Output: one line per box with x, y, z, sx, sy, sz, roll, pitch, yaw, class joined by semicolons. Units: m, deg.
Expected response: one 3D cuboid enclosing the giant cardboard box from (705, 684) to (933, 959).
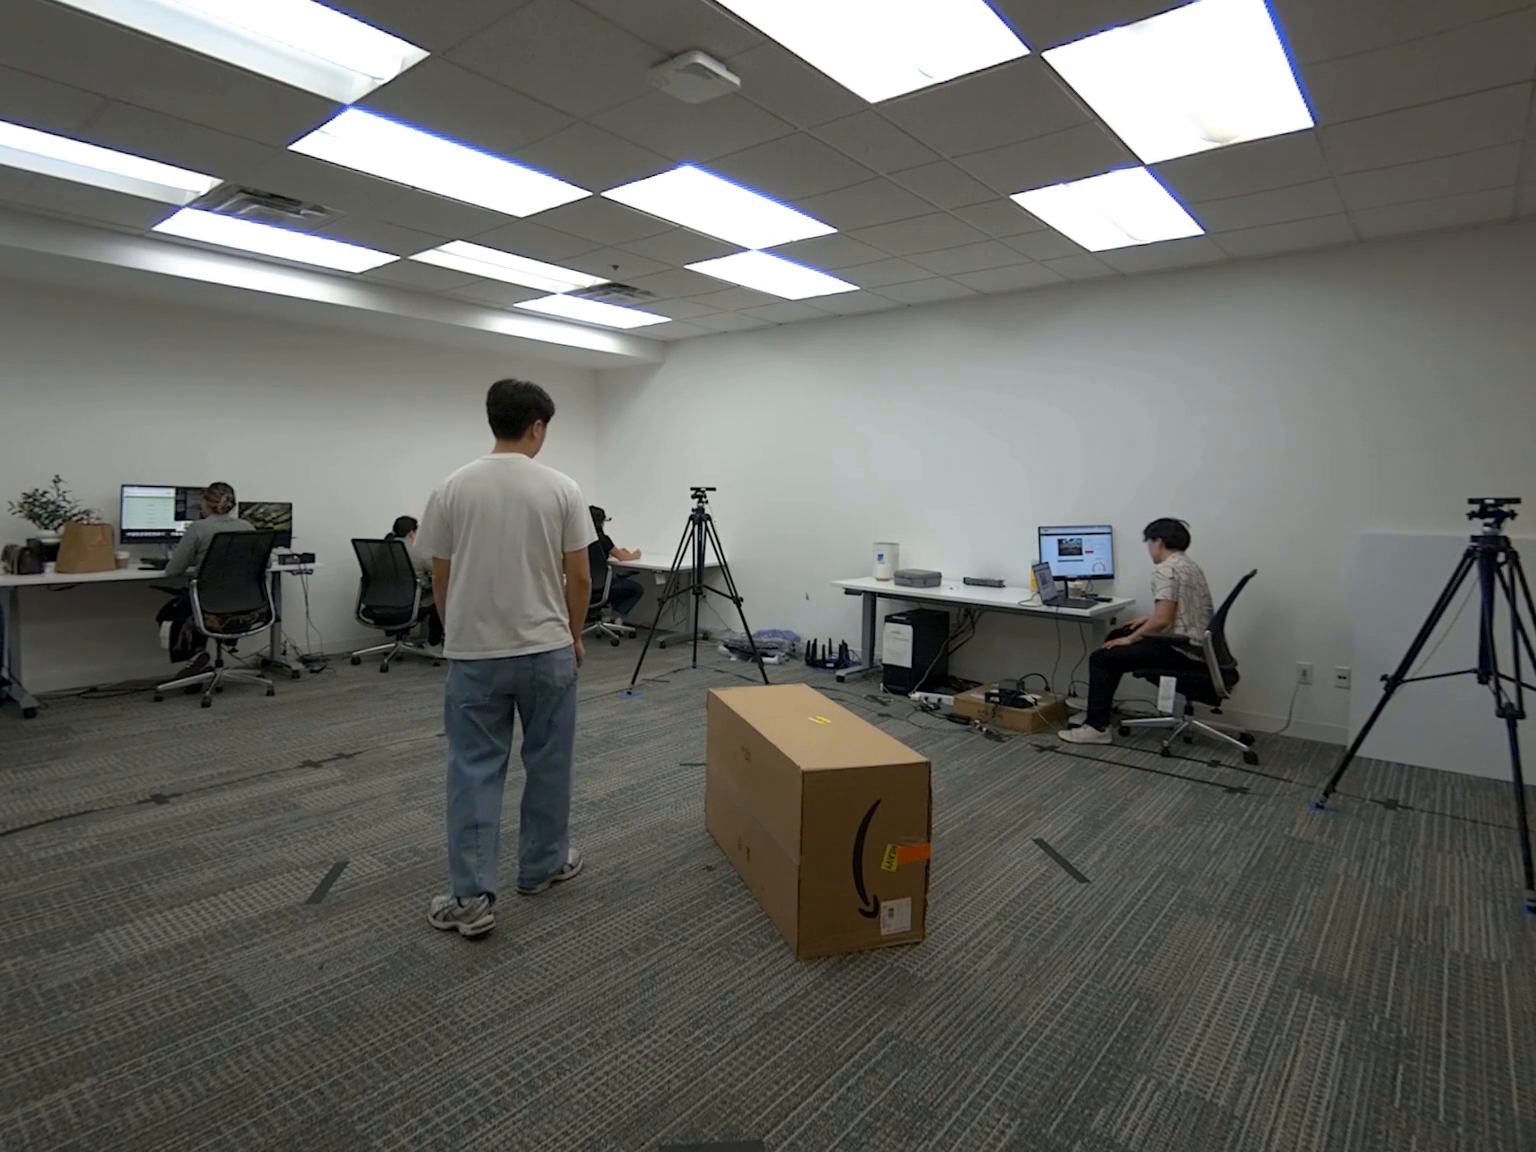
0.116;0.790;3.040;0.418;0.575;1.049;0;5;-19;giant cardboard box
